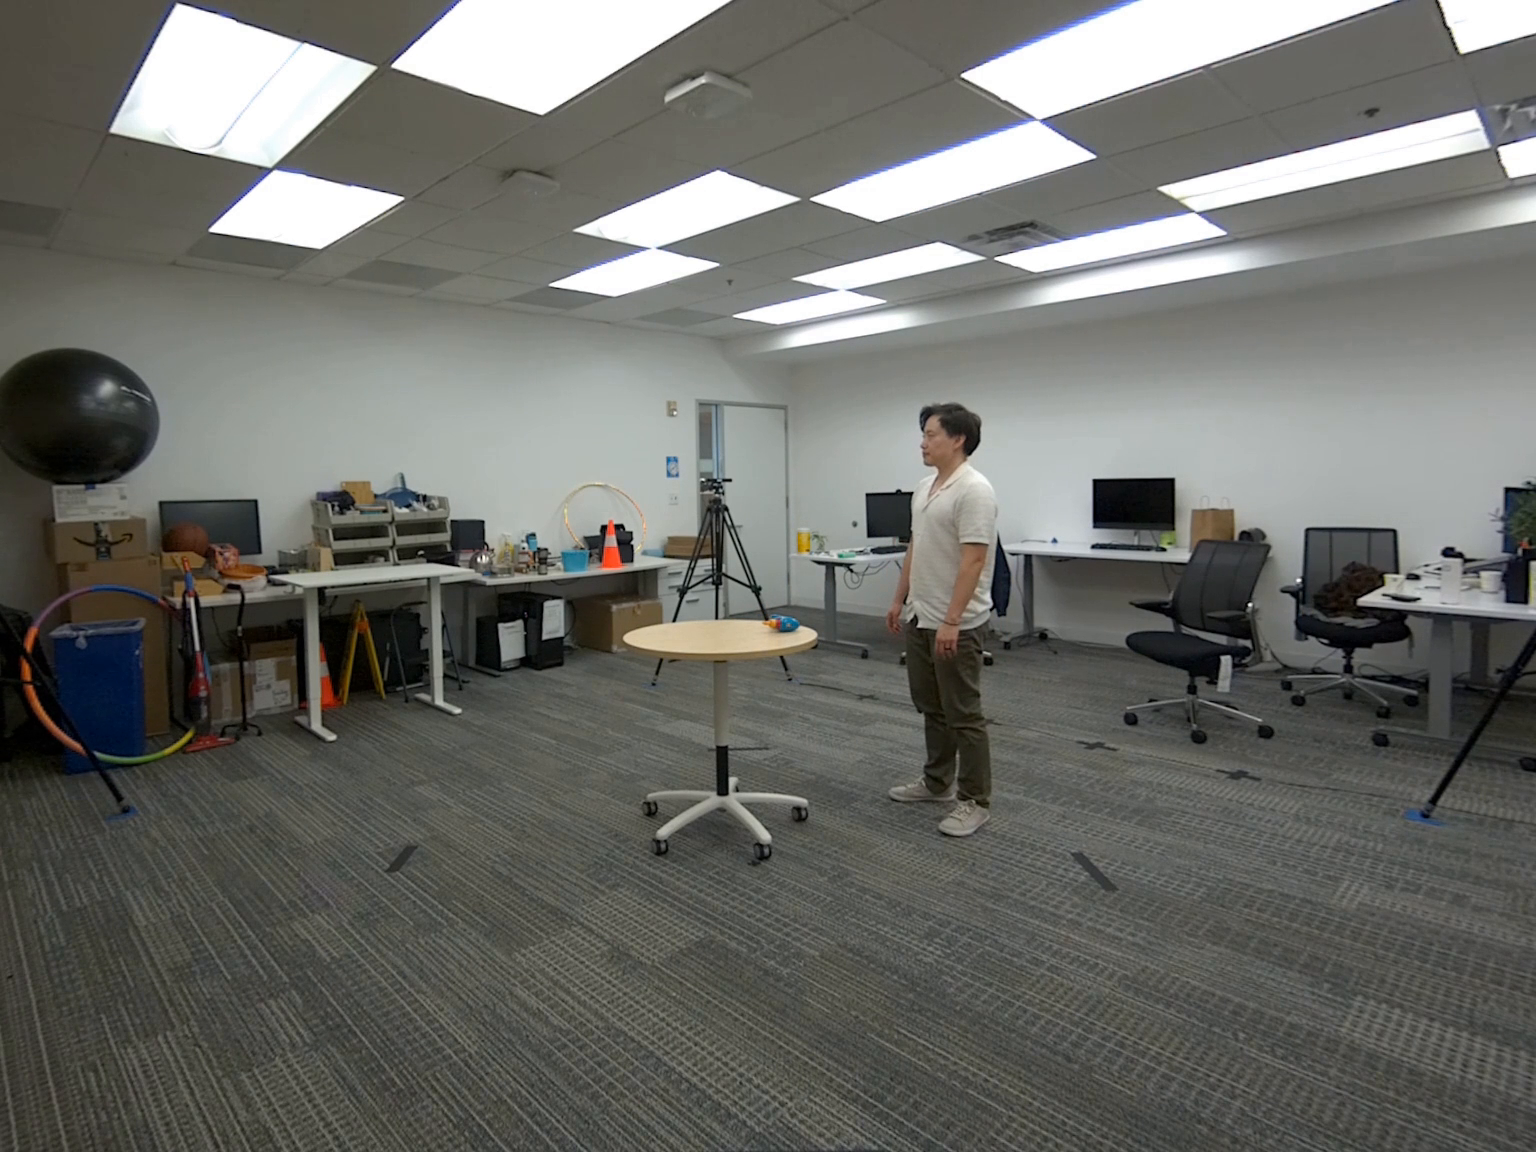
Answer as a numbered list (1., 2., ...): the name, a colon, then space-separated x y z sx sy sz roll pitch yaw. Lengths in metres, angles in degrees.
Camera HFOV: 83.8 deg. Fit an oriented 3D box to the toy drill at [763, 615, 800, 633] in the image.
1. toy drill: 0.043 0.190 3.448 0.167 0.061 0.148 3 1 -18
